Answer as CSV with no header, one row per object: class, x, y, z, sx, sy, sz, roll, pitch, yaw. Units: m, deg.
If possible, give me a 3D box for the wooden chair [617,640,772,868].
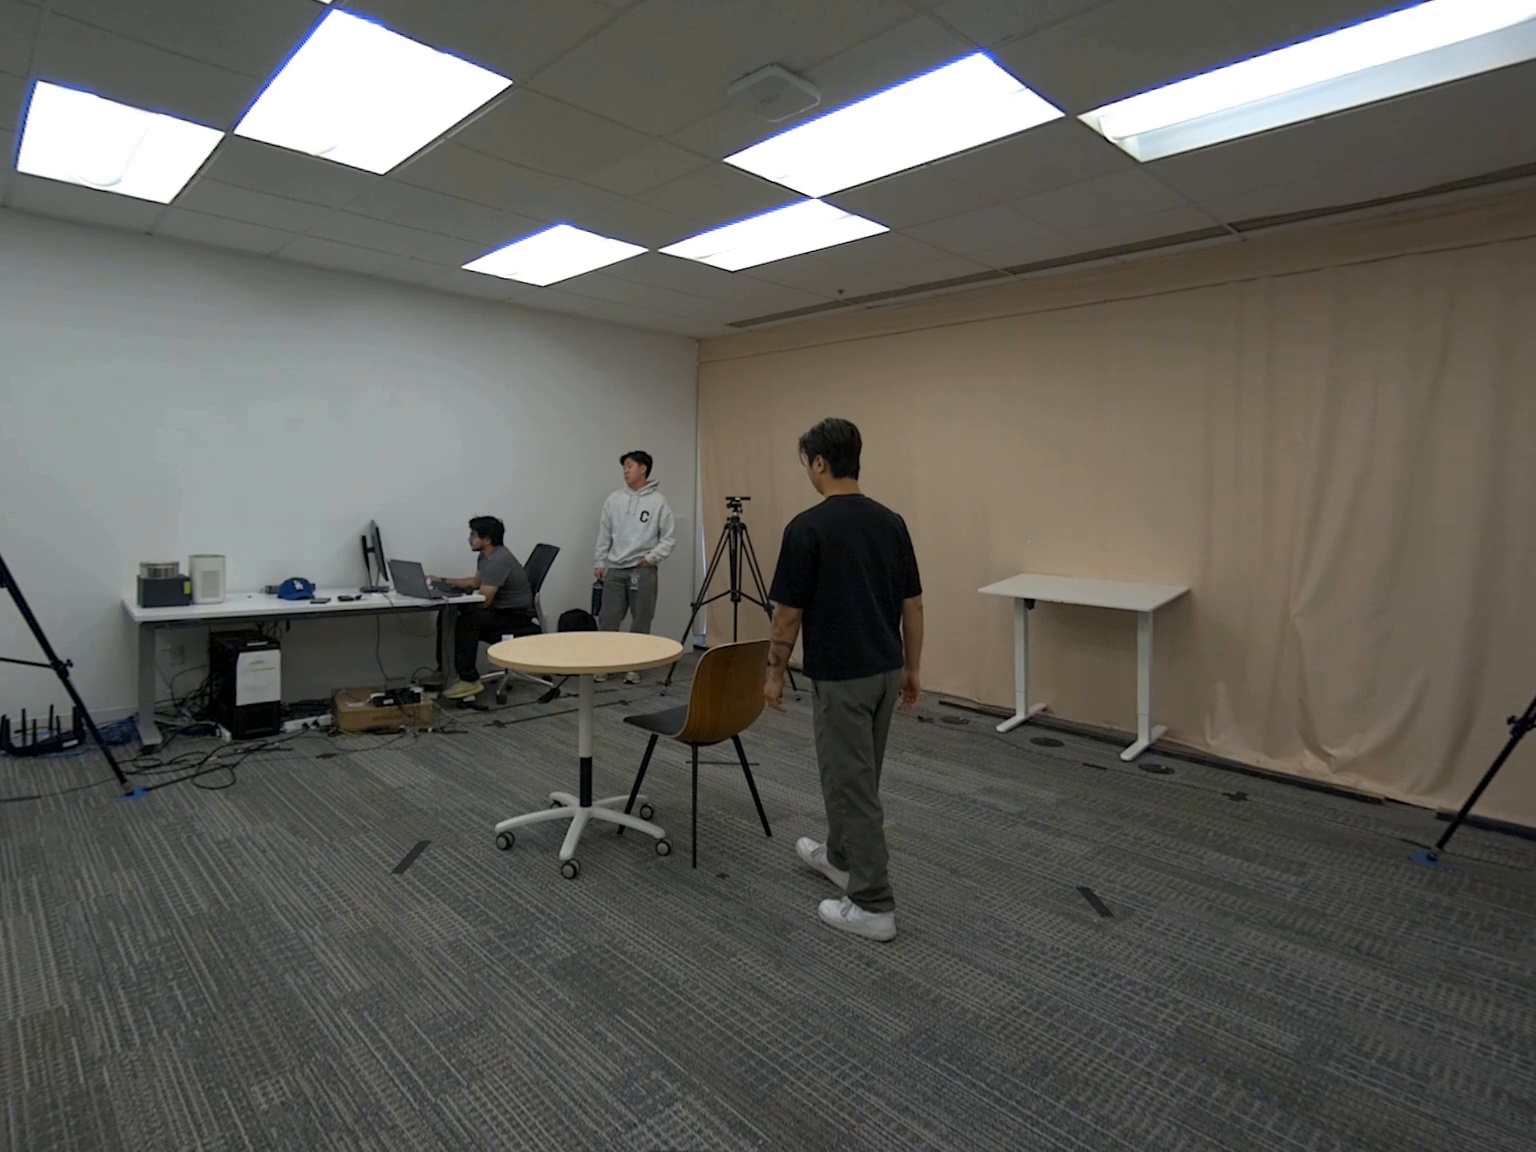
wooden chair,-0.304,0.643,3.443,0.537,0.874,0.467,11,8,41
